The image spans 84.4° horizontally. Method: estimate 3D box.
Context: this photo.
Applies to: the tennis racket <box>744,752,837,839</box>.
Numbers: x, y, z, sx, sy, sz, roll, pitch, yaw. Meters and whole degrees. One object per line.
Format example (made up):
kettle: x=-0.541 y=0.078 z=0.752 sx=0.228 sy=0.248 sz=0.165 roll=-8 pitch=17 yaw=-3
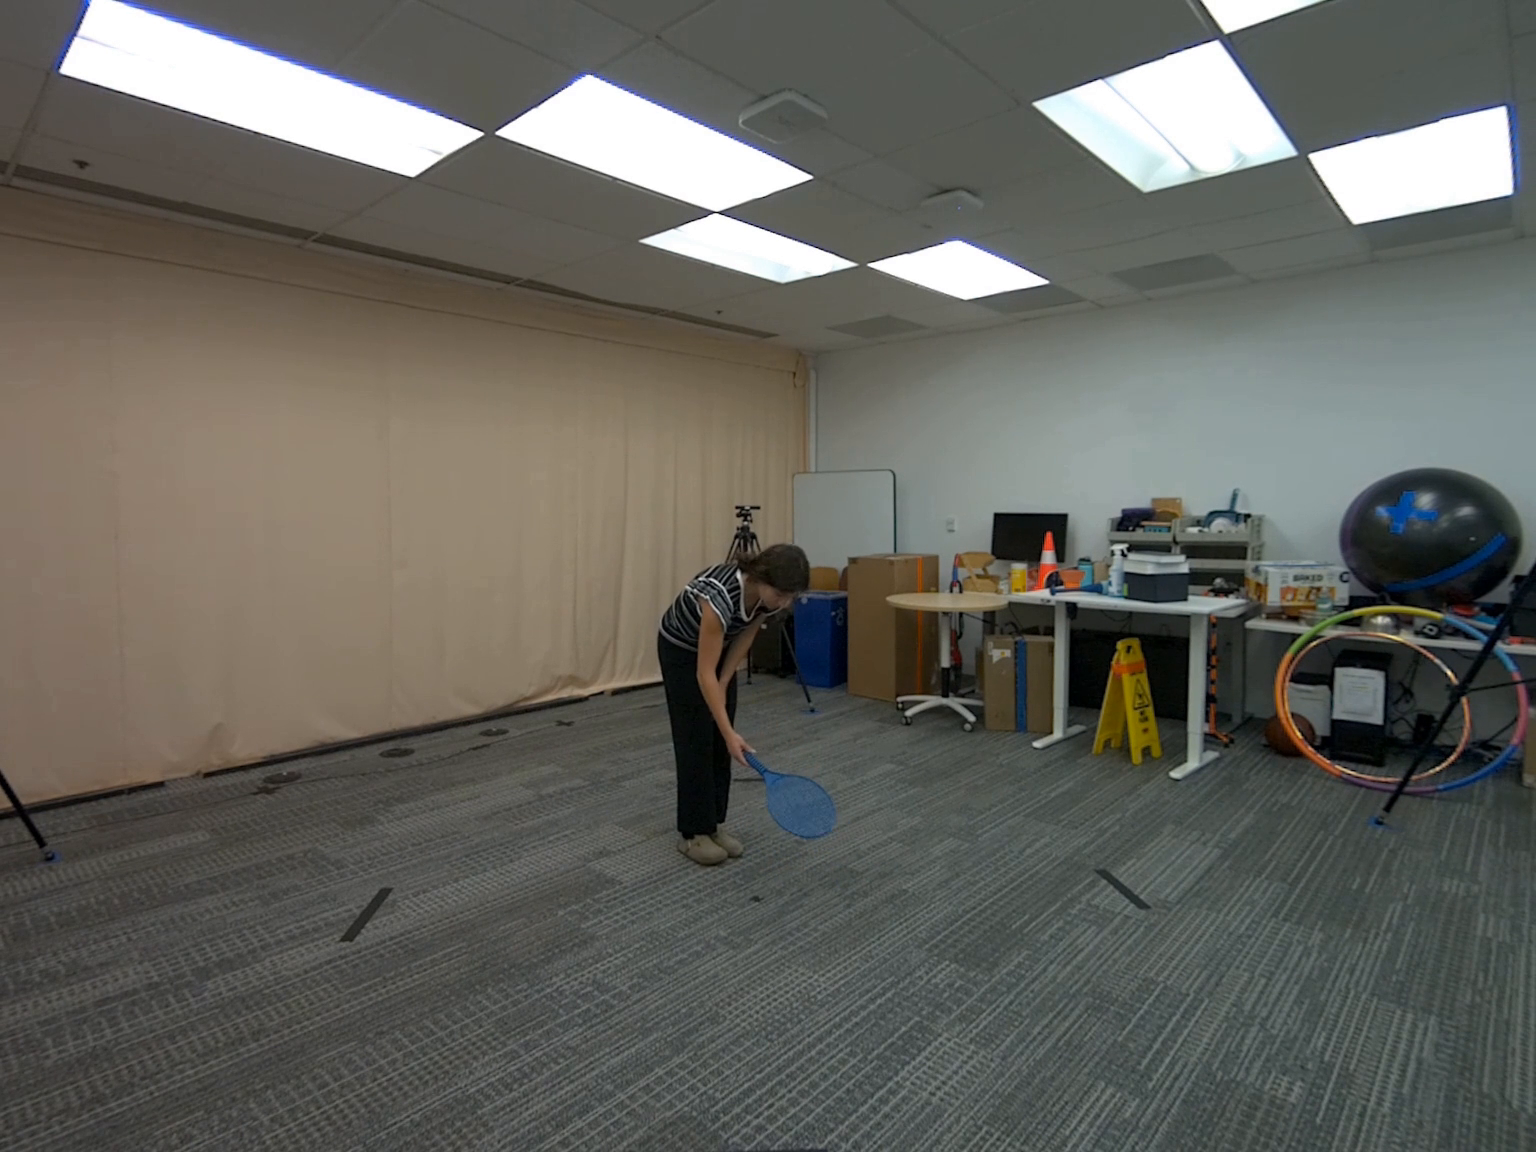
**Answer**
tennis racket: x=0.066 y=0.759 z=3.007 sx=0.210 sy=0.031 sz=0.447 roll=-33 pitch=53 yaw=-28
